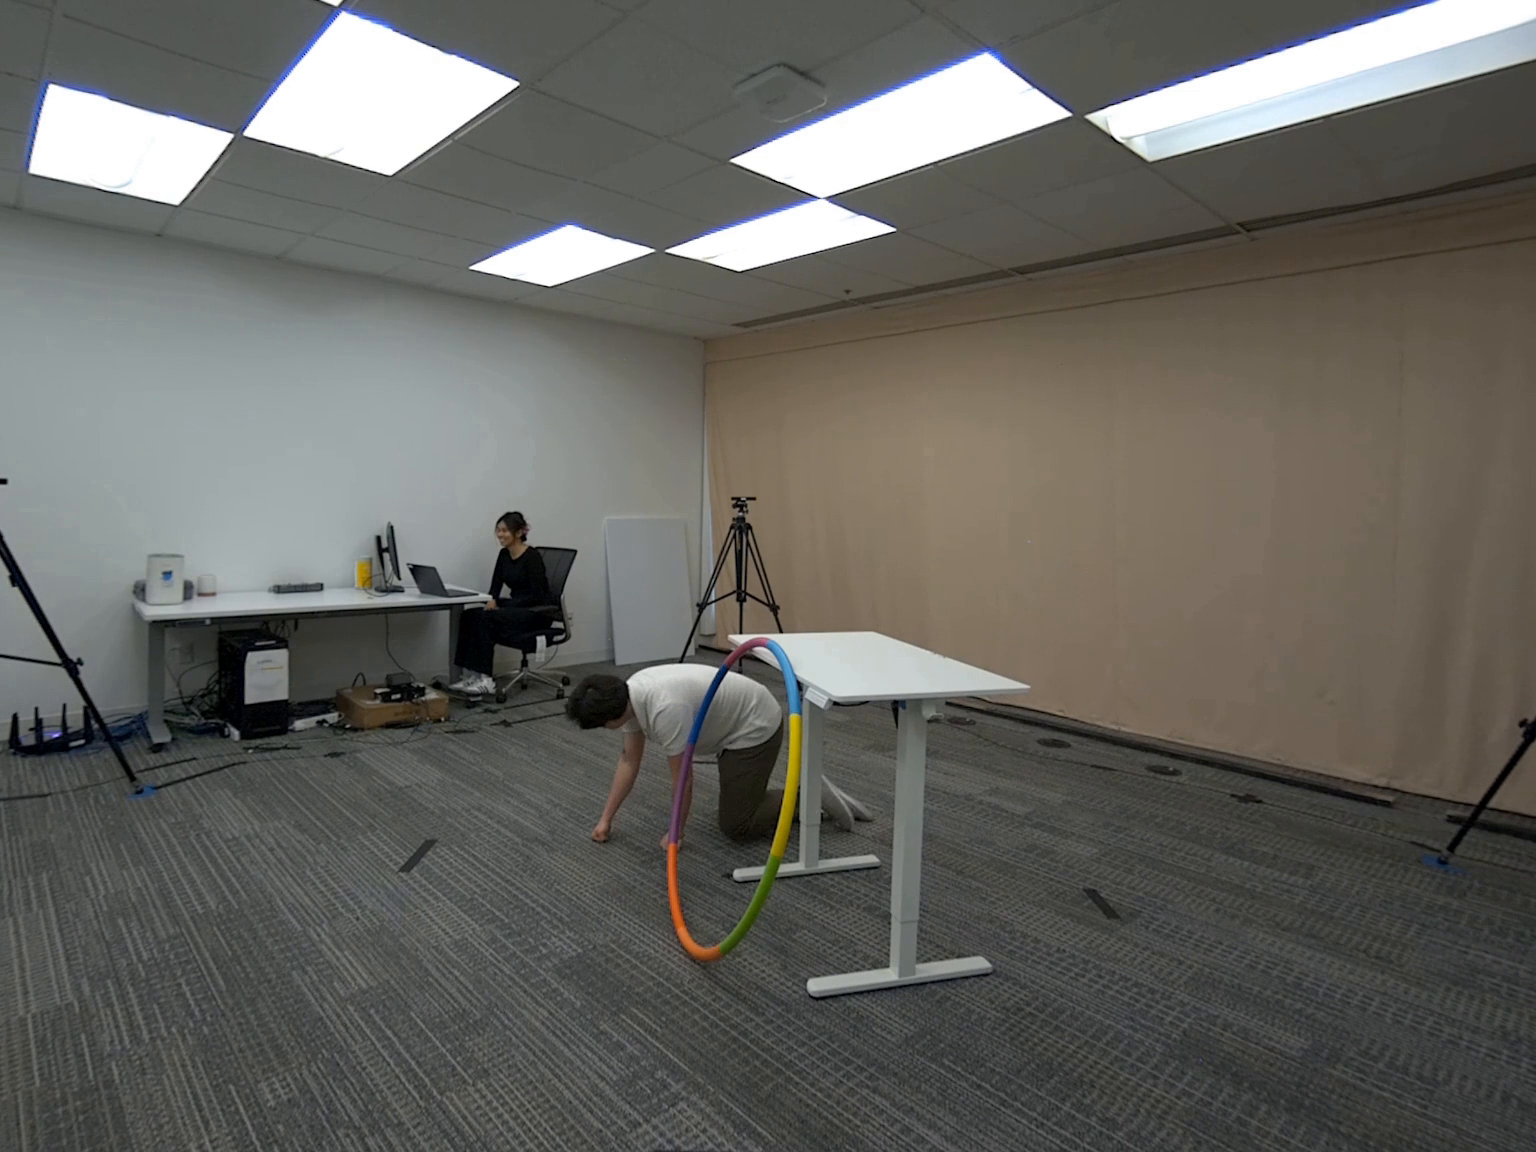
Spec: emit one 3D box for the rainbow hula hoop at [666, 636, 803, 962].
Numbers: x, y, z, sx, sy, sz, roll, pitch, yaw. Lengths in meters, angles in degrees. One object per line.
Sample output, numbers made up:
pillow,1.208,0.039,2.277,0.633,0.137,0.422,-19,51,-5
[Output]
rainbow hula hoop,-0.145,0.682,2.653,0.035,0.979,0.995,18,-1,-20
